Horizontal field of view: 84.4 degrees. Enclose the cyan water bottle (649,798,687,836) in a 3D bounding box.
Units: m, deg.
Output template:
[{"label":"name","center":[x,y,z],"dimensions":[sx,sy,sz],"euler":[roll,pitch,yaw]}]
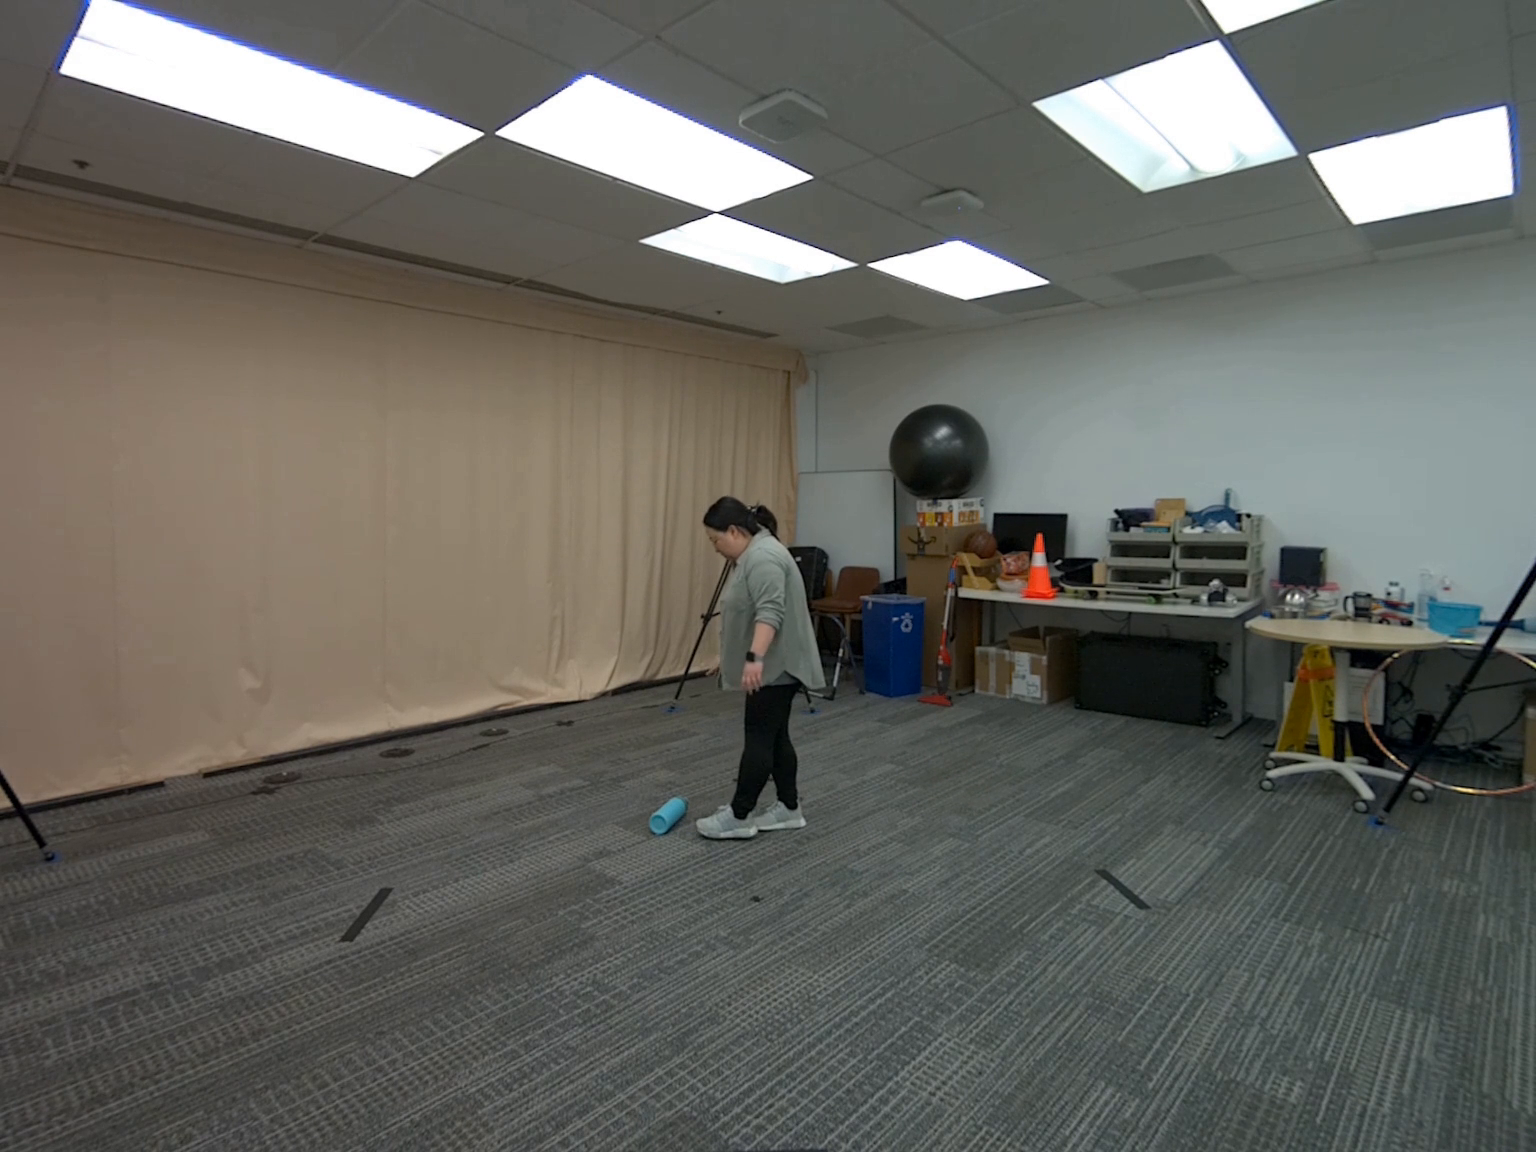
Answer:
[{"label":"cyan water bottle","center":[-0.429,1.044,3.713],"dimensions":[0.094,0.092,0.279],"euler":[1,5,15]}]
